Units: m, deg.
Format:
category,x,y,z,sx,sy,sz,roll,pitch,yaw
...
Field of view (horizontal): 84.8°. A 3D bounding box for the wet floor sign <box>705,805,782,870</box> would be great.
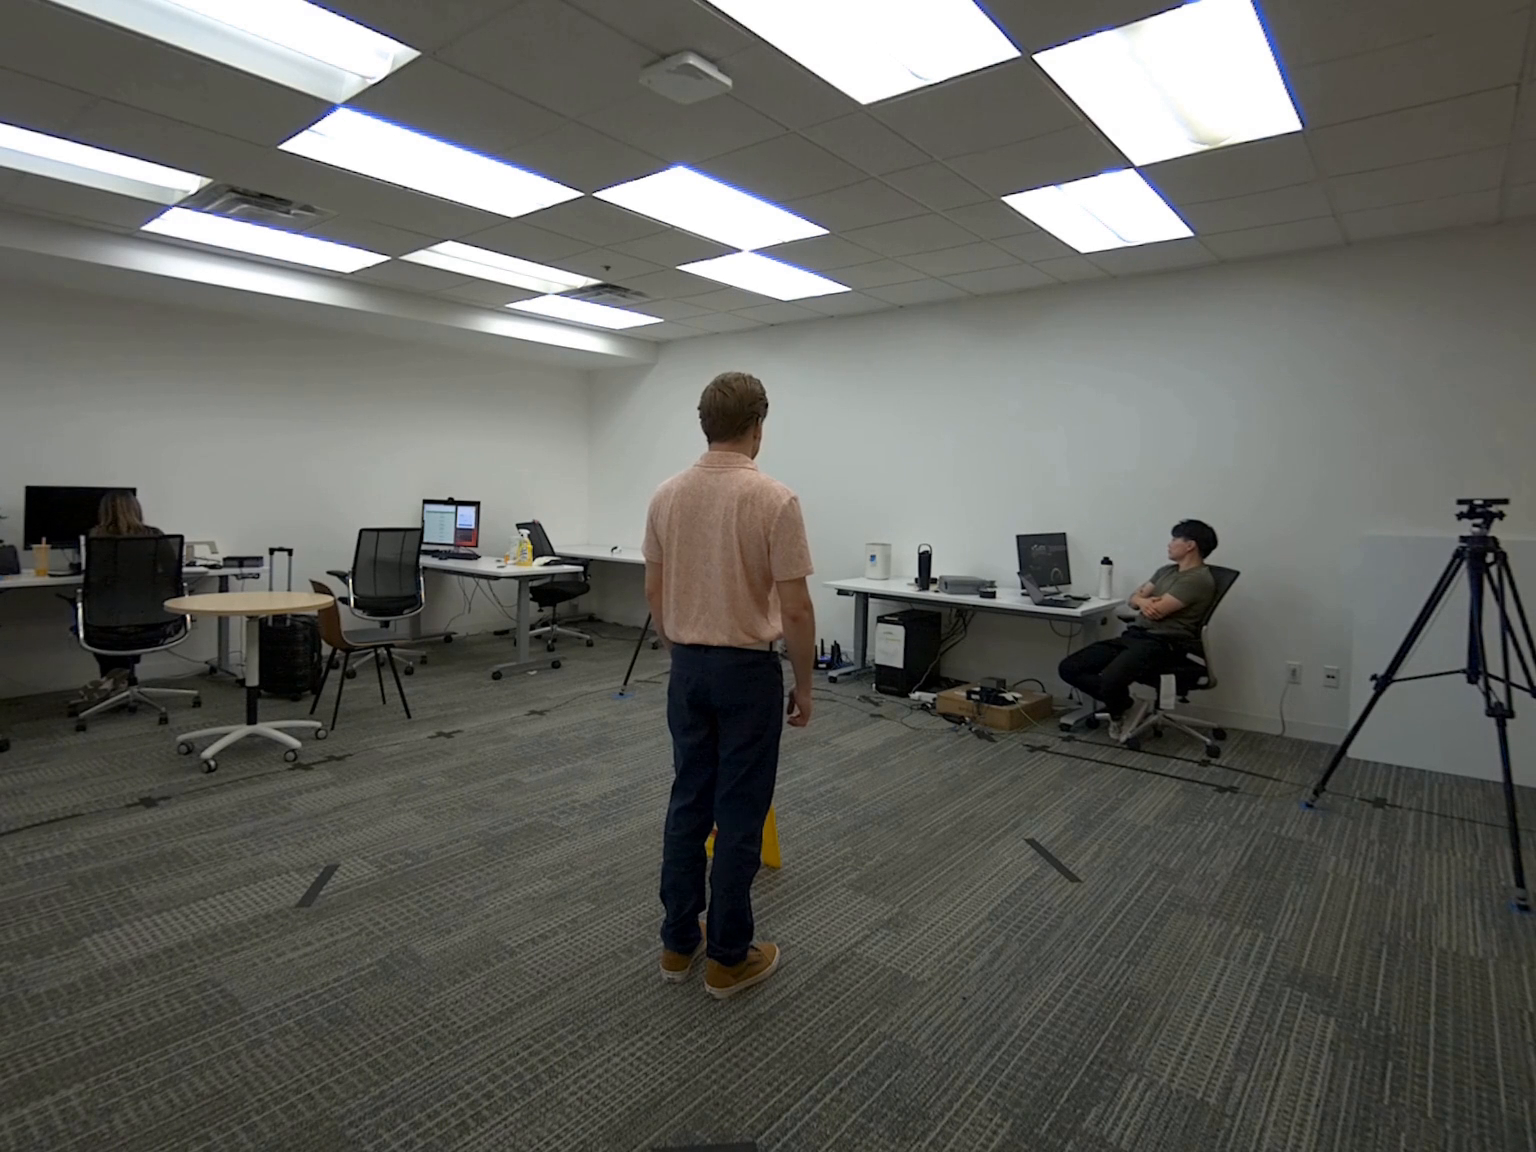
category,x,y,z,sx,sy,sz,roll,pitch,yaw
wet floor sign,-0.135,0.739,3.105,0.291,0.645,0.281,4,3,36
